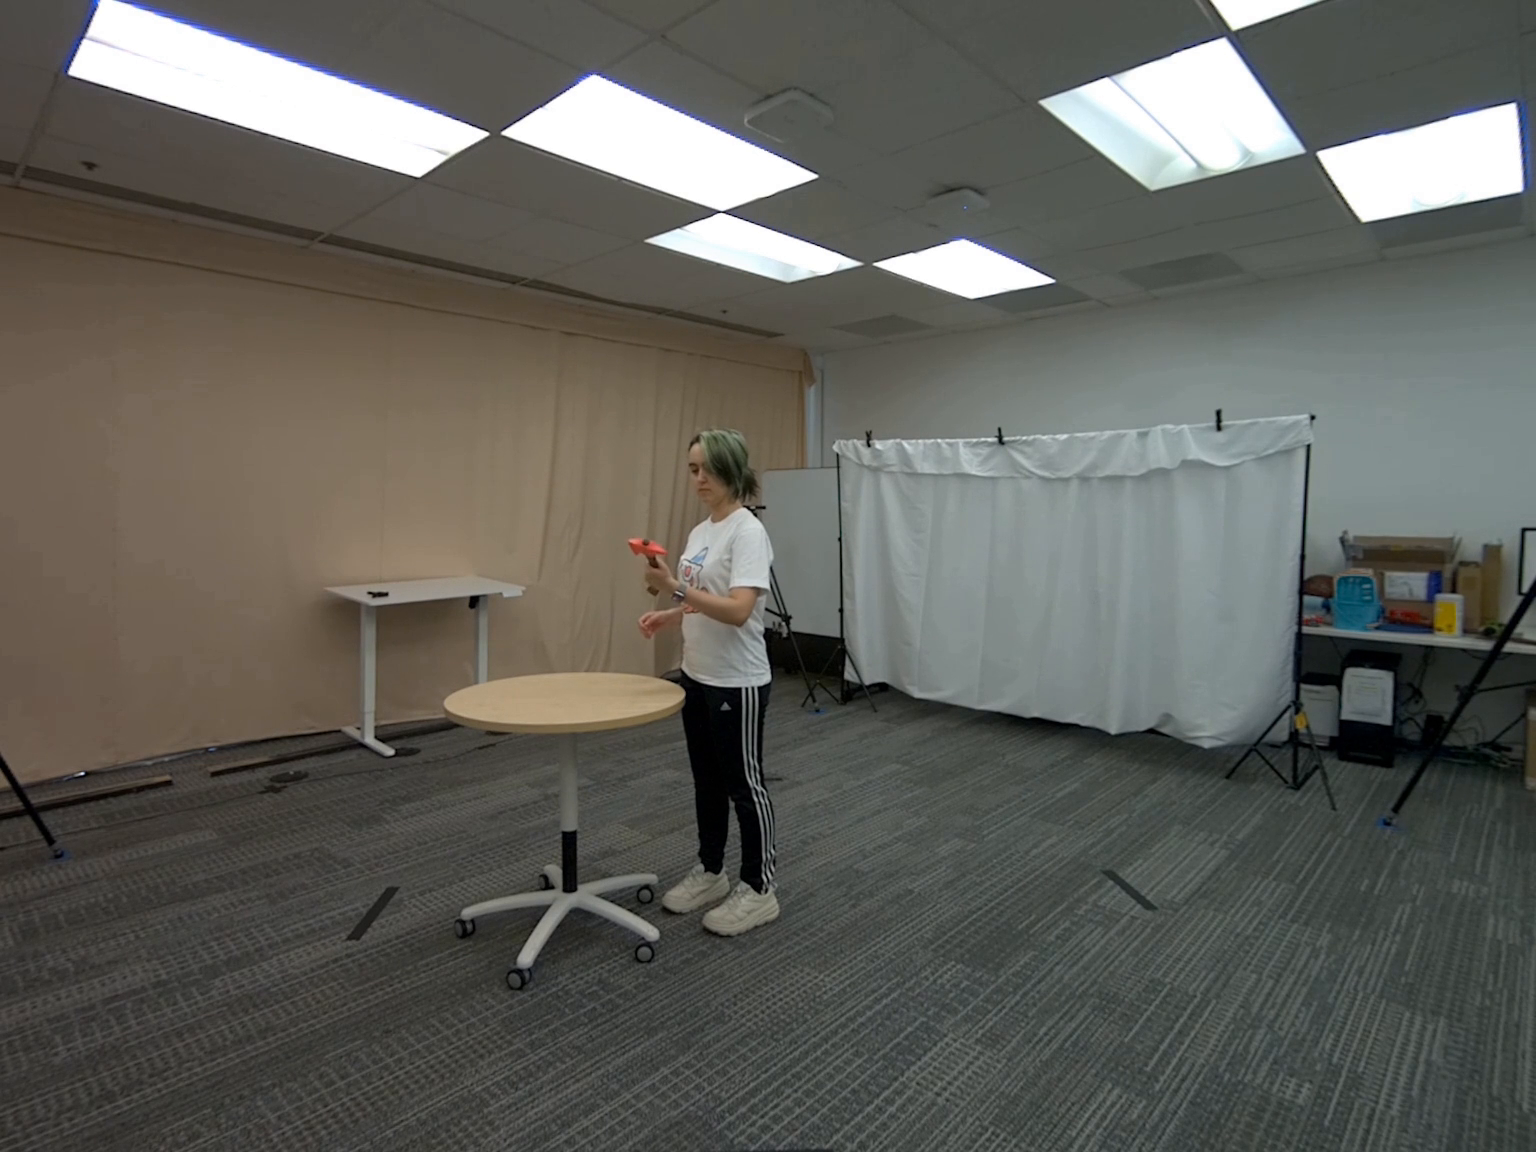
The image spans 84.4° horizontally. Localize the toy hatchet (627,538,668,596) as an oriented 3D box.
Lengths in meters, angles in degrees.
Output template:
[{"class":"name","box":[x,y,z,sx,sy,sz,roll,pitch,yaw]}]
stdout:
[{"class":"toy hatchet","box":[-0.376,-0.034,2.573,0.132,0.029,0.268,27,-31,4]}]
